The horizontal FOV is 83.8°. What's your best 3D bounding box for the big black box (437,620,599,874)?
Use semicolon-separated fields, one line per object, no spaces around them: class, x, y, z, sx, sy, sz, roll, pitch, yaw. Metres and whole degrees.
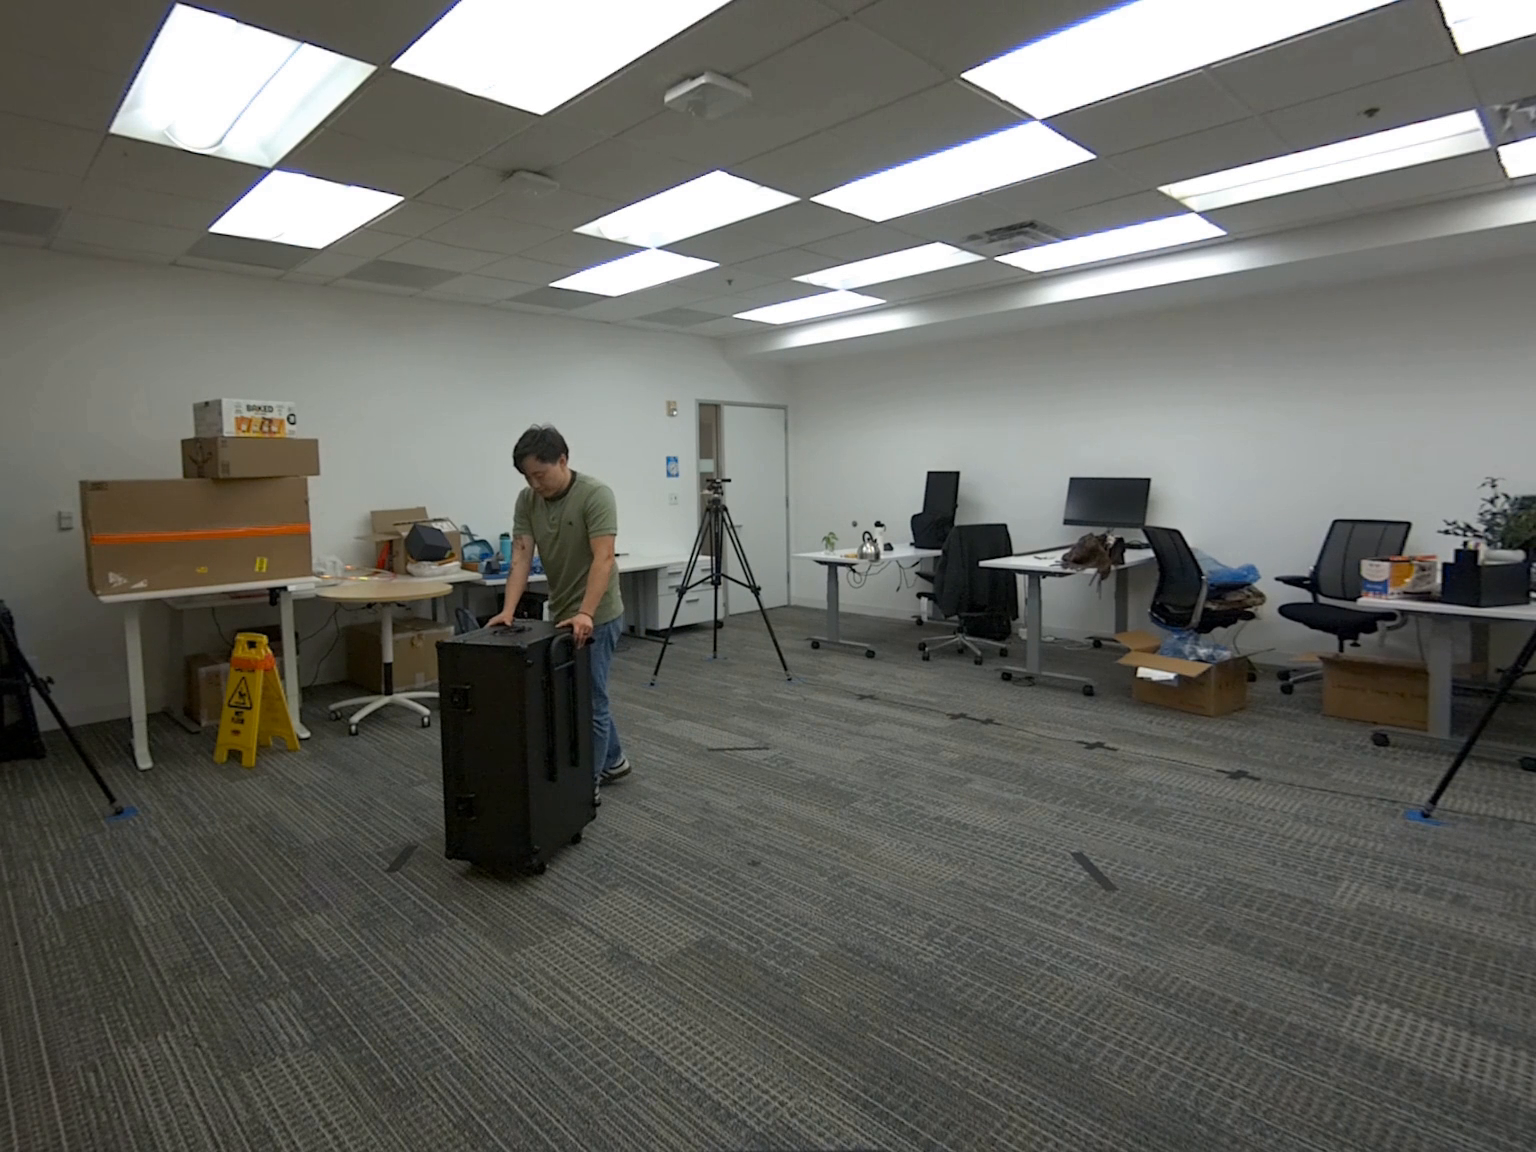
big black box;-0.914;0.637;3.190;0.403;0.858;0.514;1;5;17
